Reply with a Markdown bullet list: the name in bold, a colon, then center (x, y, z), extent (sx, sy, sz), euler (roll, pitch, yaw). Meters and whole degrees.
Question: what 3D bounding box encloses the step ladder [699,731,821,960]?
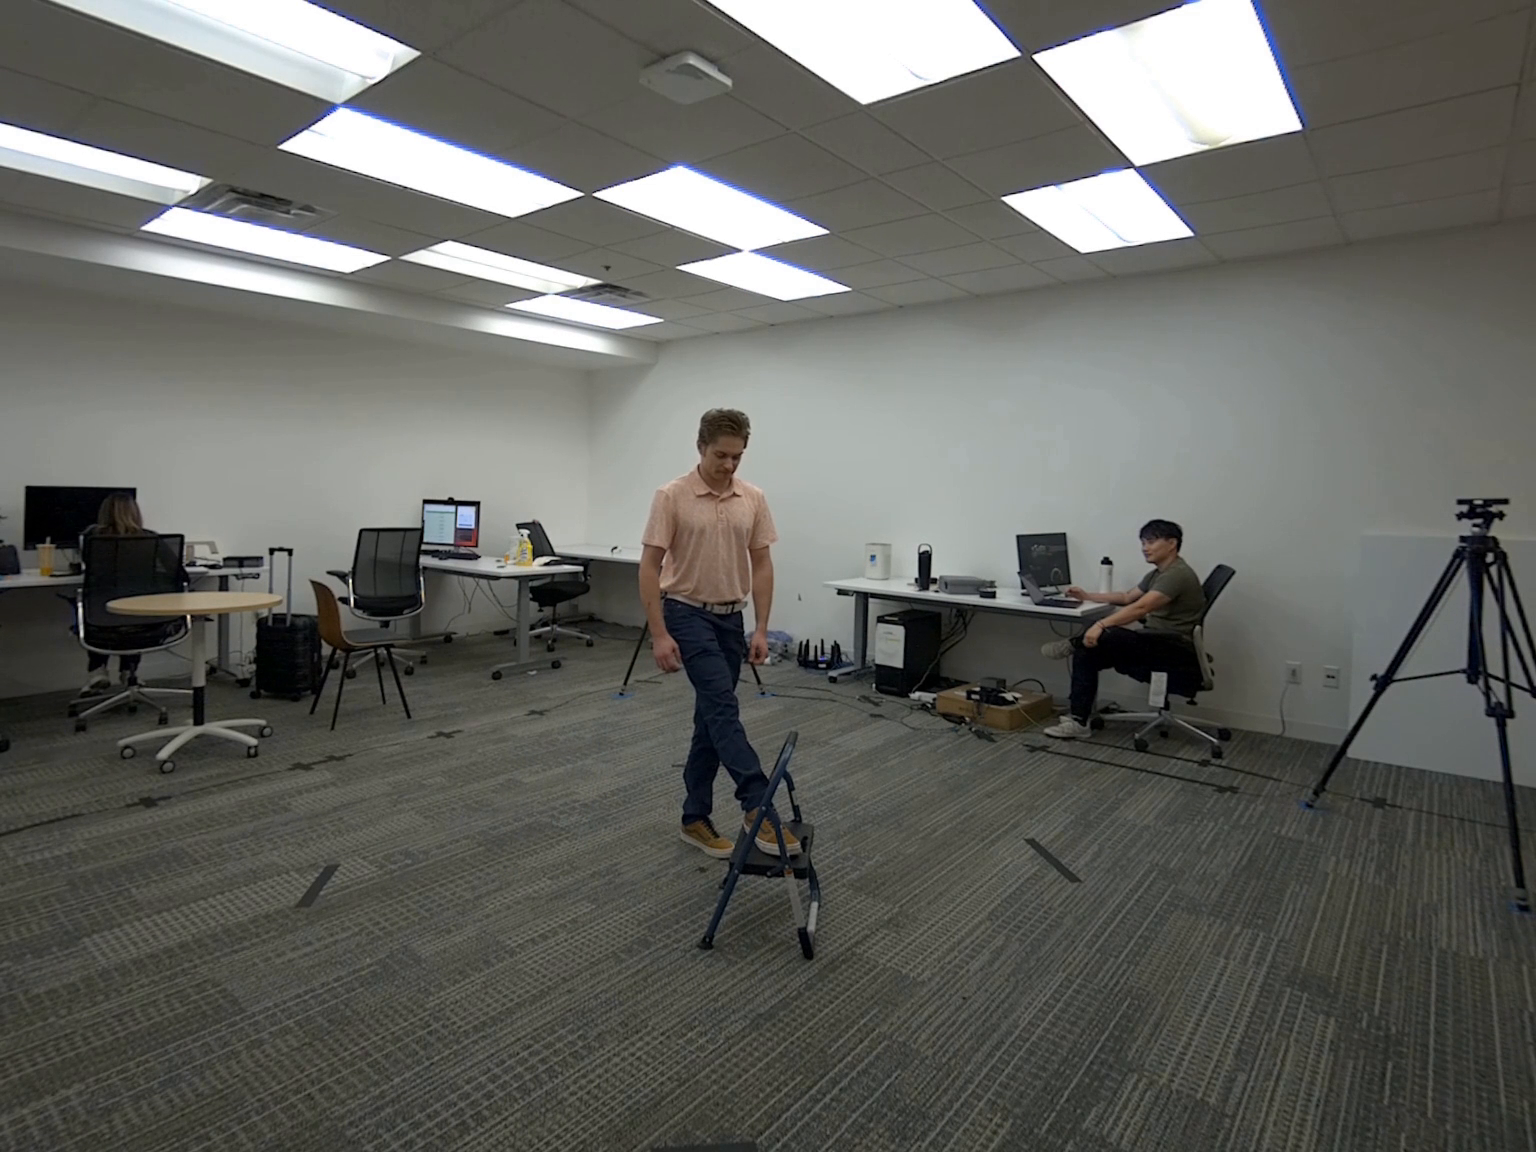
- **step ladder**: center (-0.009, 0.811, 2.731), extent (0.352, 0.604, 0.428), euler (2, 4, 7)
